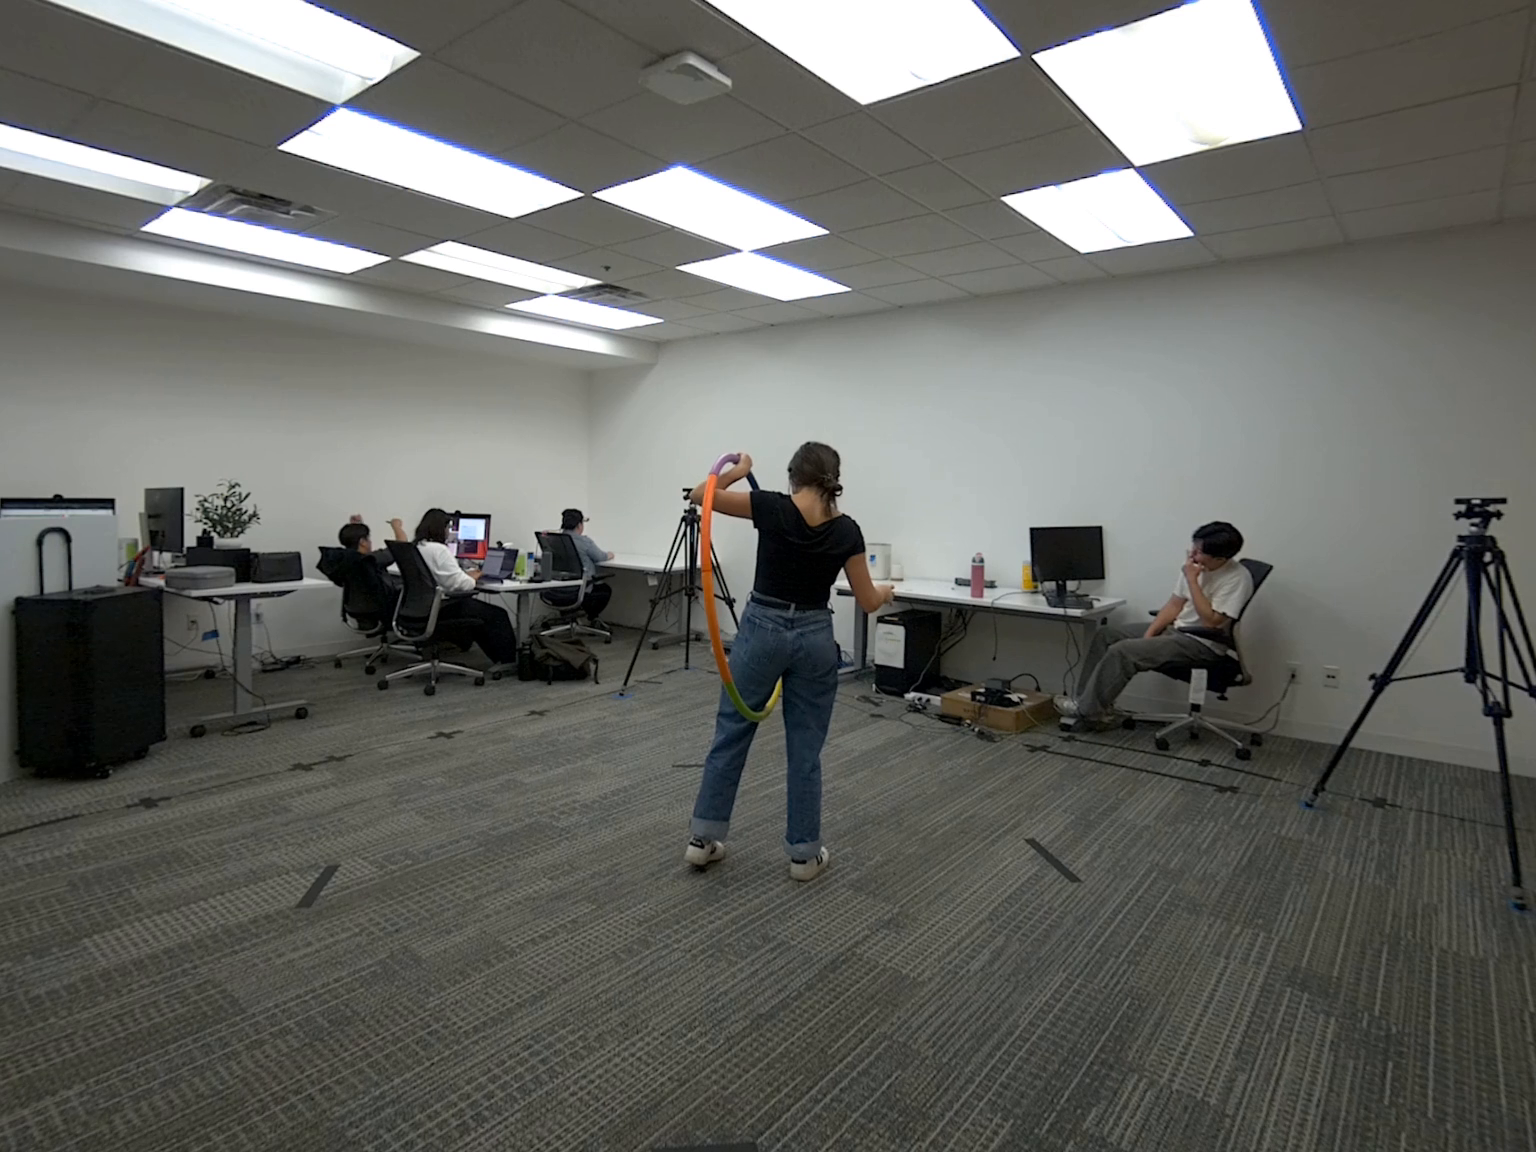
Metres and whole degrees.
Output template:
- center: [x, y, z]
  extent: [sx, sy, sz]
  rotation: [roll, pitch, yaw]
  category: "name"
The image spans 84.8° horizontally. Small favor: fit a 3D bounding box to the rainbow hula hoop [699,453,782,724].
- center: [-0.076, 0.025, 3.152]
  extent: [0.036, 0.978, 0.965]
  rotation: [-7, 2, 15]
  category: "rainbow hula hoop"
